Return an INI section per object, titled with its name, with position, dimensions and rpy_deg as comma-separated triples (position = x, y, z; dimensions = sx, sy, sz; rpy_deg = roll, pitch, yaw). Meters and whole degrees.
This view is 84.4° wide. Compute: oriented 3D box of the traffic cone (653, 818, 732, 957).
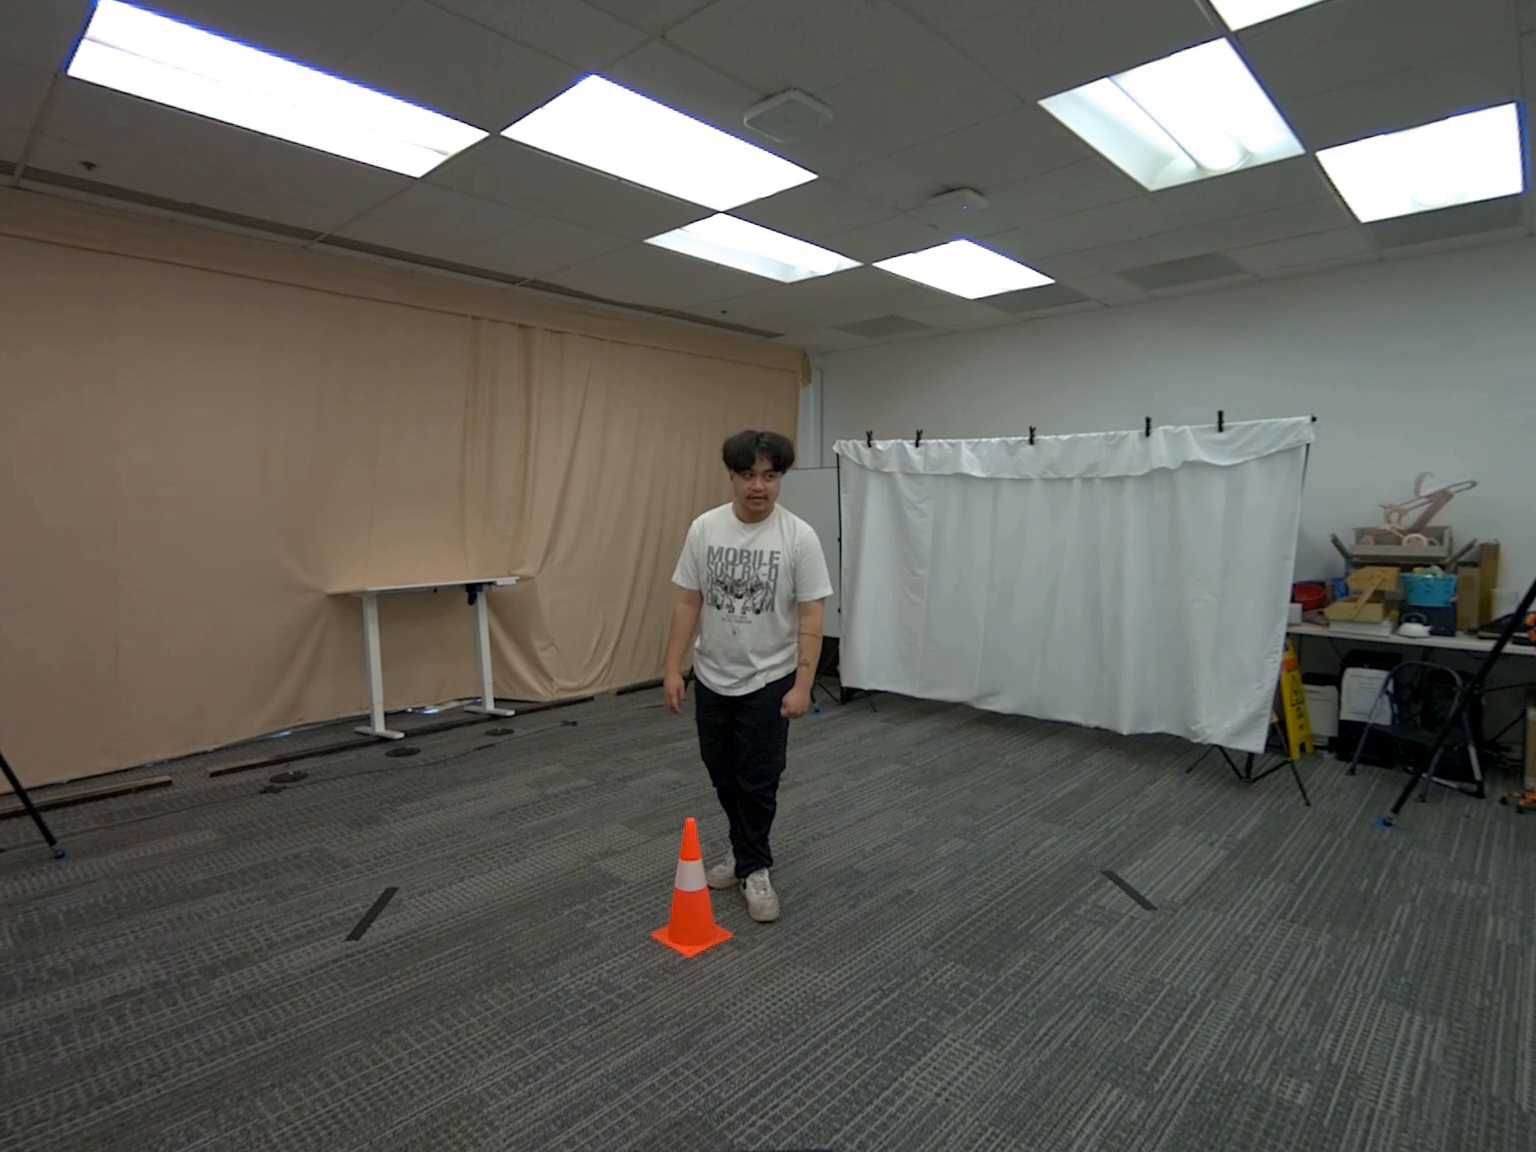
[traffic cone]
position = -0.244, 0.978, 2.721
dimensions = 0.199, 0.383, 0.210
rpy_deg = -3, 5, -42
